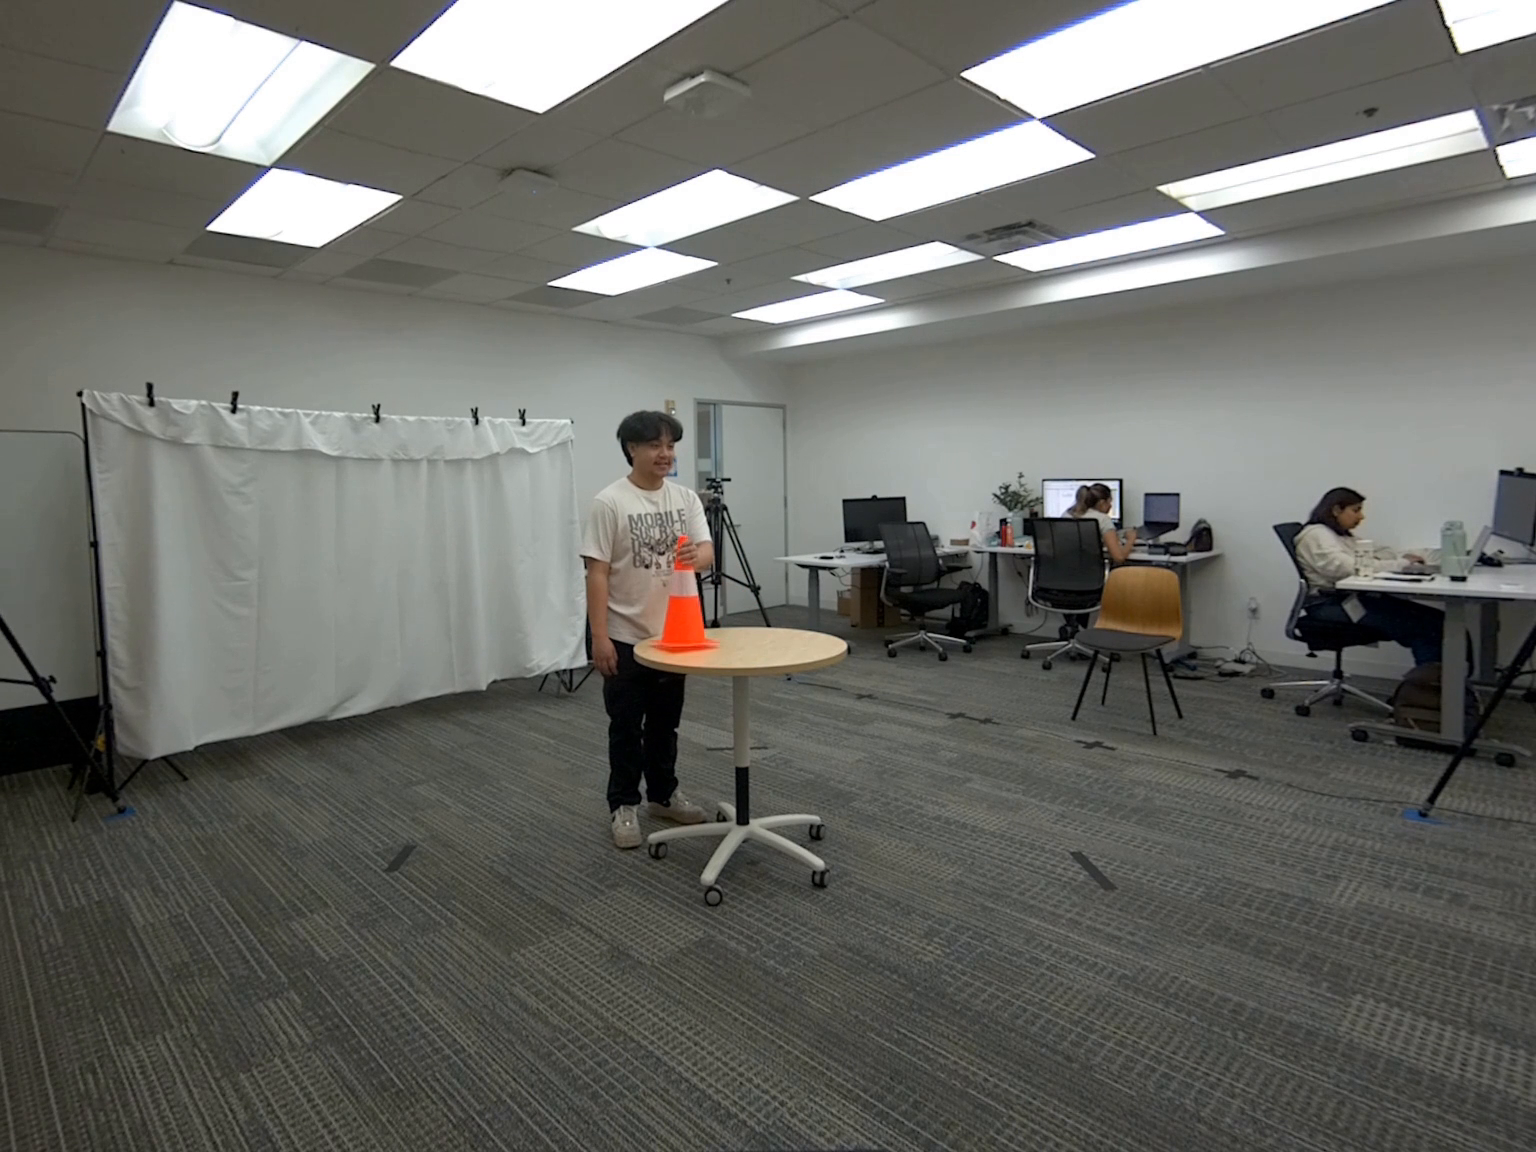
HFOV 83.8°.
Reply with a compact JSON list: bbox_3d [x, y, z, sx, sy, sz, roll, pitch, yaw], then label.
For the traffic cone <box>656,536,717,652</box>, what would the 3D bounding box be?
[{"bbox_3d":[-0.299,0.047,3.063,0.199,0.383,0.209,-1,1,-43],"label":"traffic cone"}]
